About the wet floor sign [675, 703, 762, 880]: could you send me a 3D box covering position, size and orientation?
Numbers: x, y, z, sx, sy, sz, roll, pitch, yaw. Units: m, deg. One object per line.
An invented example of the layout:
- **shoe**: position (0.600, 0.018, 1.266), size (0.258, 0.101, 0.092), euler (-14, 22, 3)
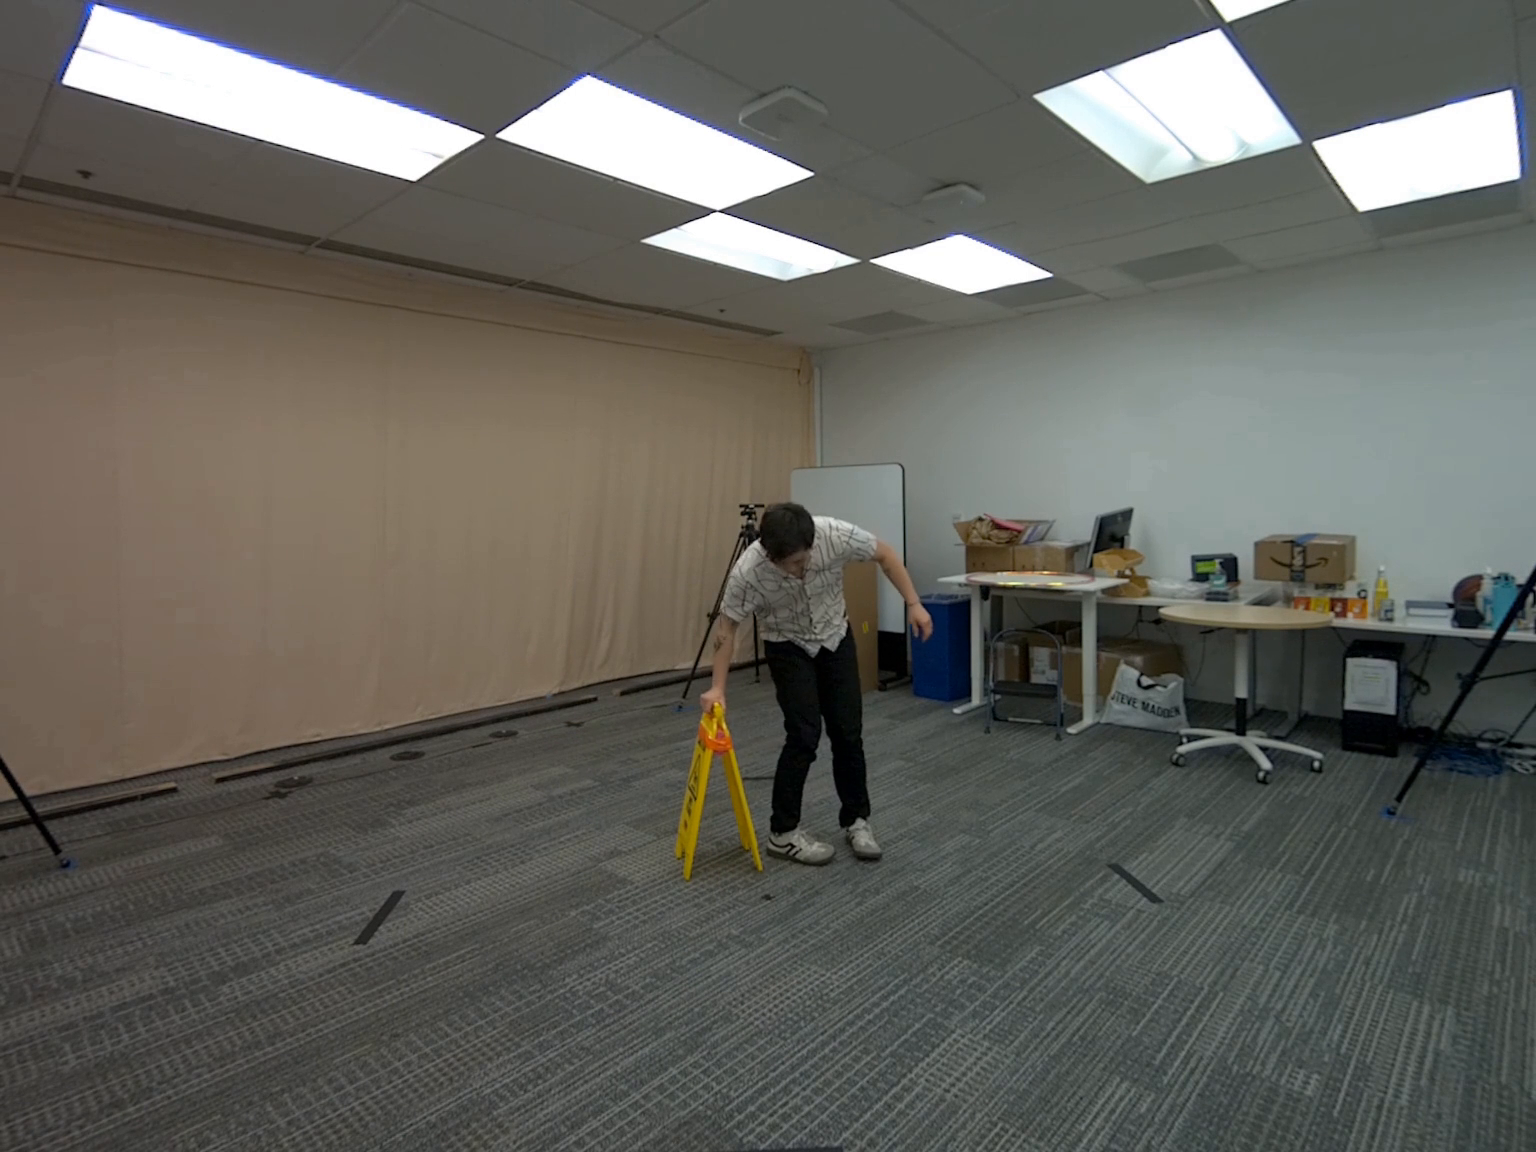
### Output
- **wet floor sign**: position (-0.205, 0.792, 3.271), size (0.286, 0.645, 0.286), euler (-2, 2, -14)
